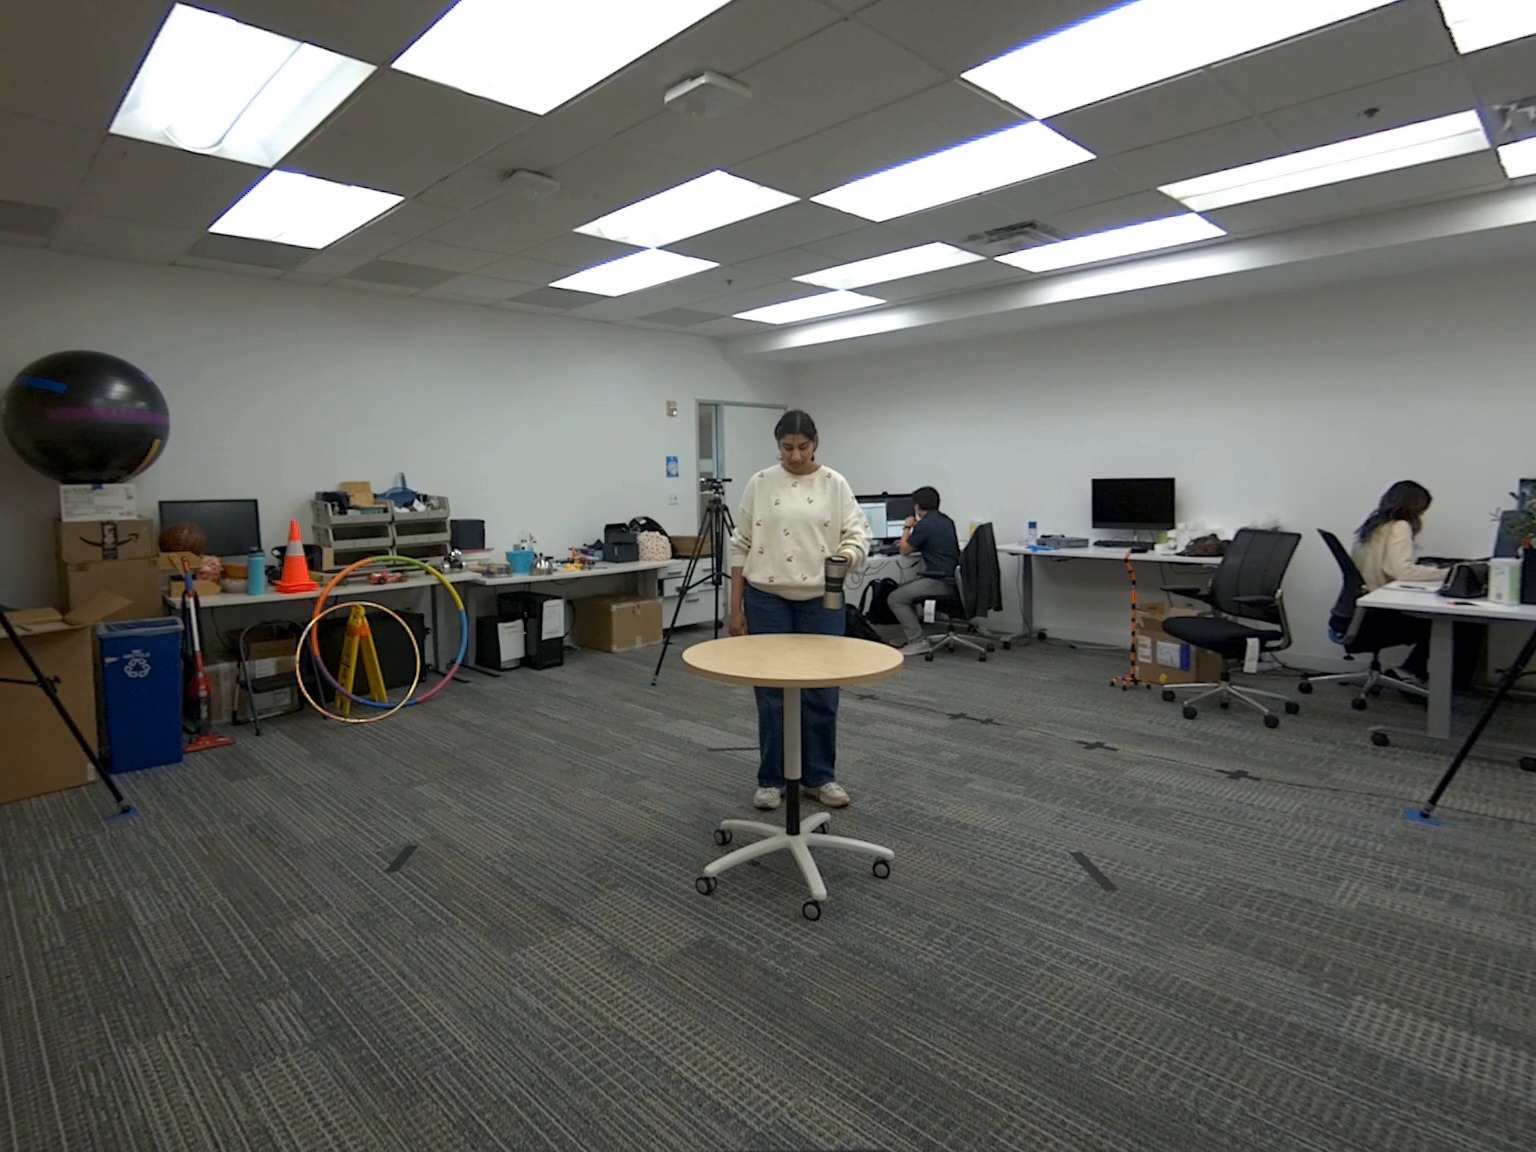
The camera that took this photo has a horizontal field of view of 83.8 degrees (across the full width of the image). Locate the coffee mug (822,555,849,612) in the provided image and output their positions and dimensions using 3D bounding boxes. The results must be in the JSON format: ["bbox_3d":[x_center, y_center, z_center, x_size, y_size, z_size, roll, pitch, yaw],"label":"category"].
[{"bbox_3d":[0.268,0.033,3.263,0.119,0.202,0.091,-6,8,-40],"label":"coffee mug"}]
